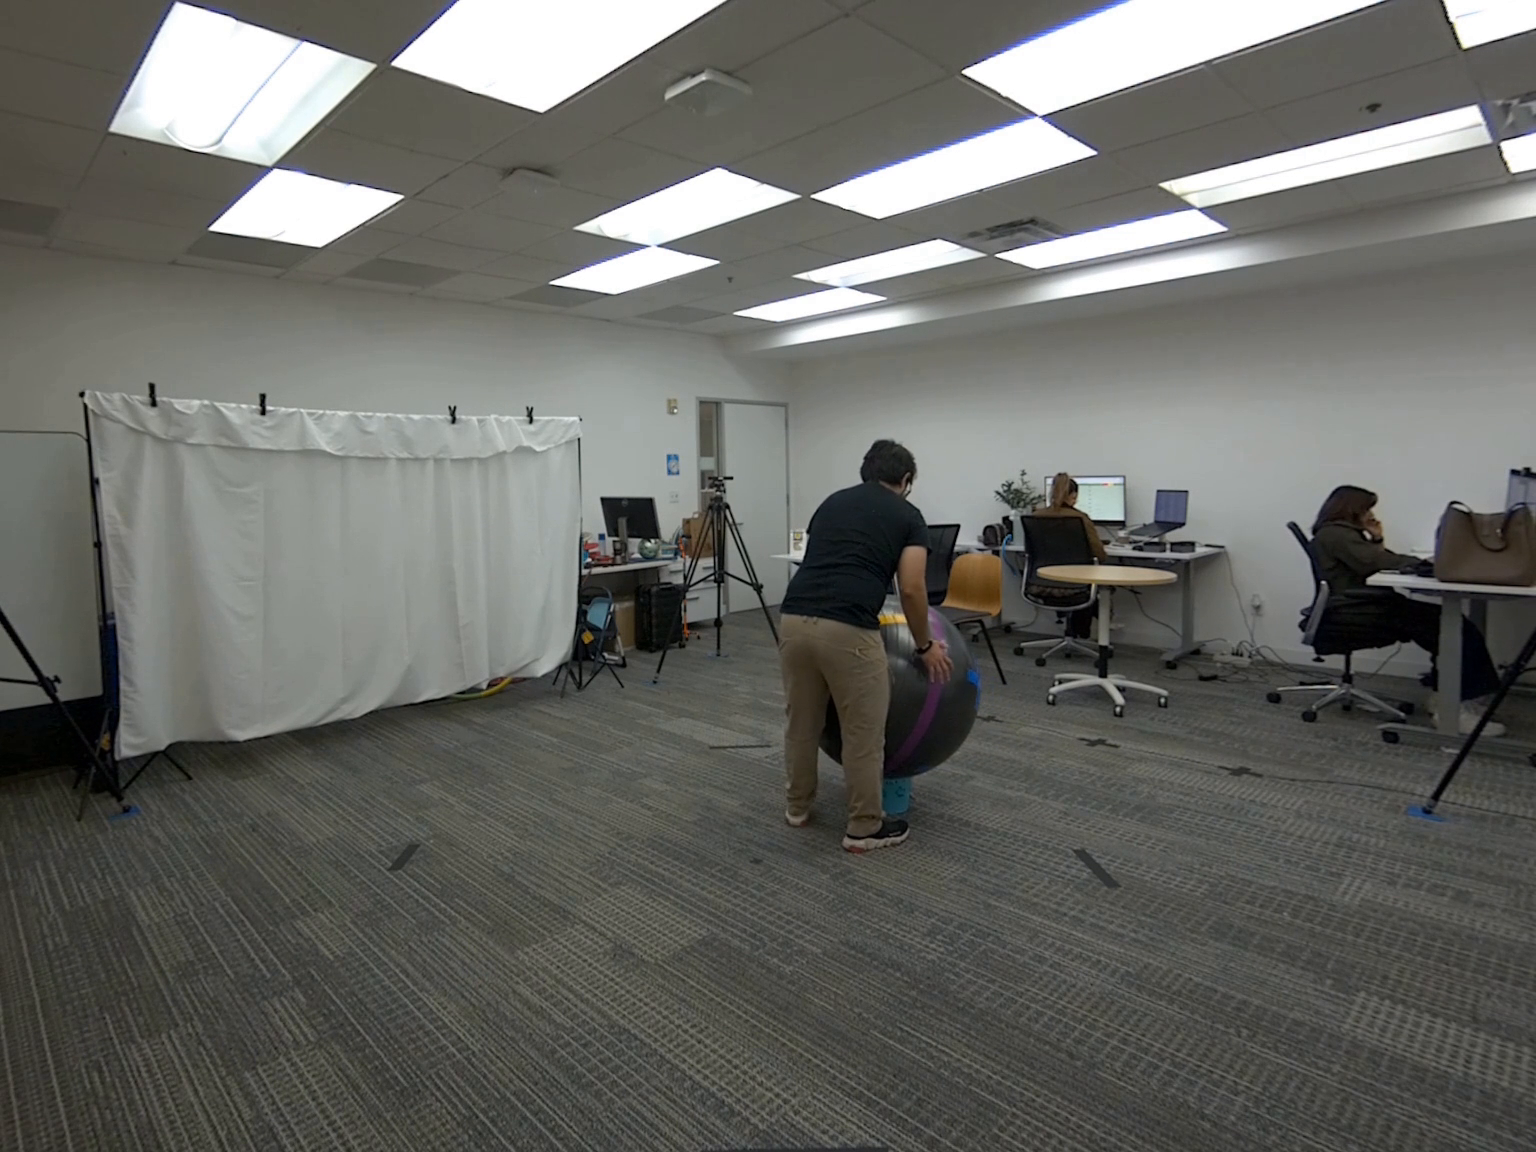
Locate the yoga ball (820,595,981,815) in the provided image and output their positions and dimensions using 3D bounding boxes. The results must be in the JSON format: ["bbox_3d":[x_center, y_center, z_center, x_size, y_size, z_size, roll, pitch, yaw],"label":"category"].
[{"bbox_3d":[0.499,0.464,3.587,0.757,0.755,0.762,-1,5,-2],"label":"yoga ball"}]
